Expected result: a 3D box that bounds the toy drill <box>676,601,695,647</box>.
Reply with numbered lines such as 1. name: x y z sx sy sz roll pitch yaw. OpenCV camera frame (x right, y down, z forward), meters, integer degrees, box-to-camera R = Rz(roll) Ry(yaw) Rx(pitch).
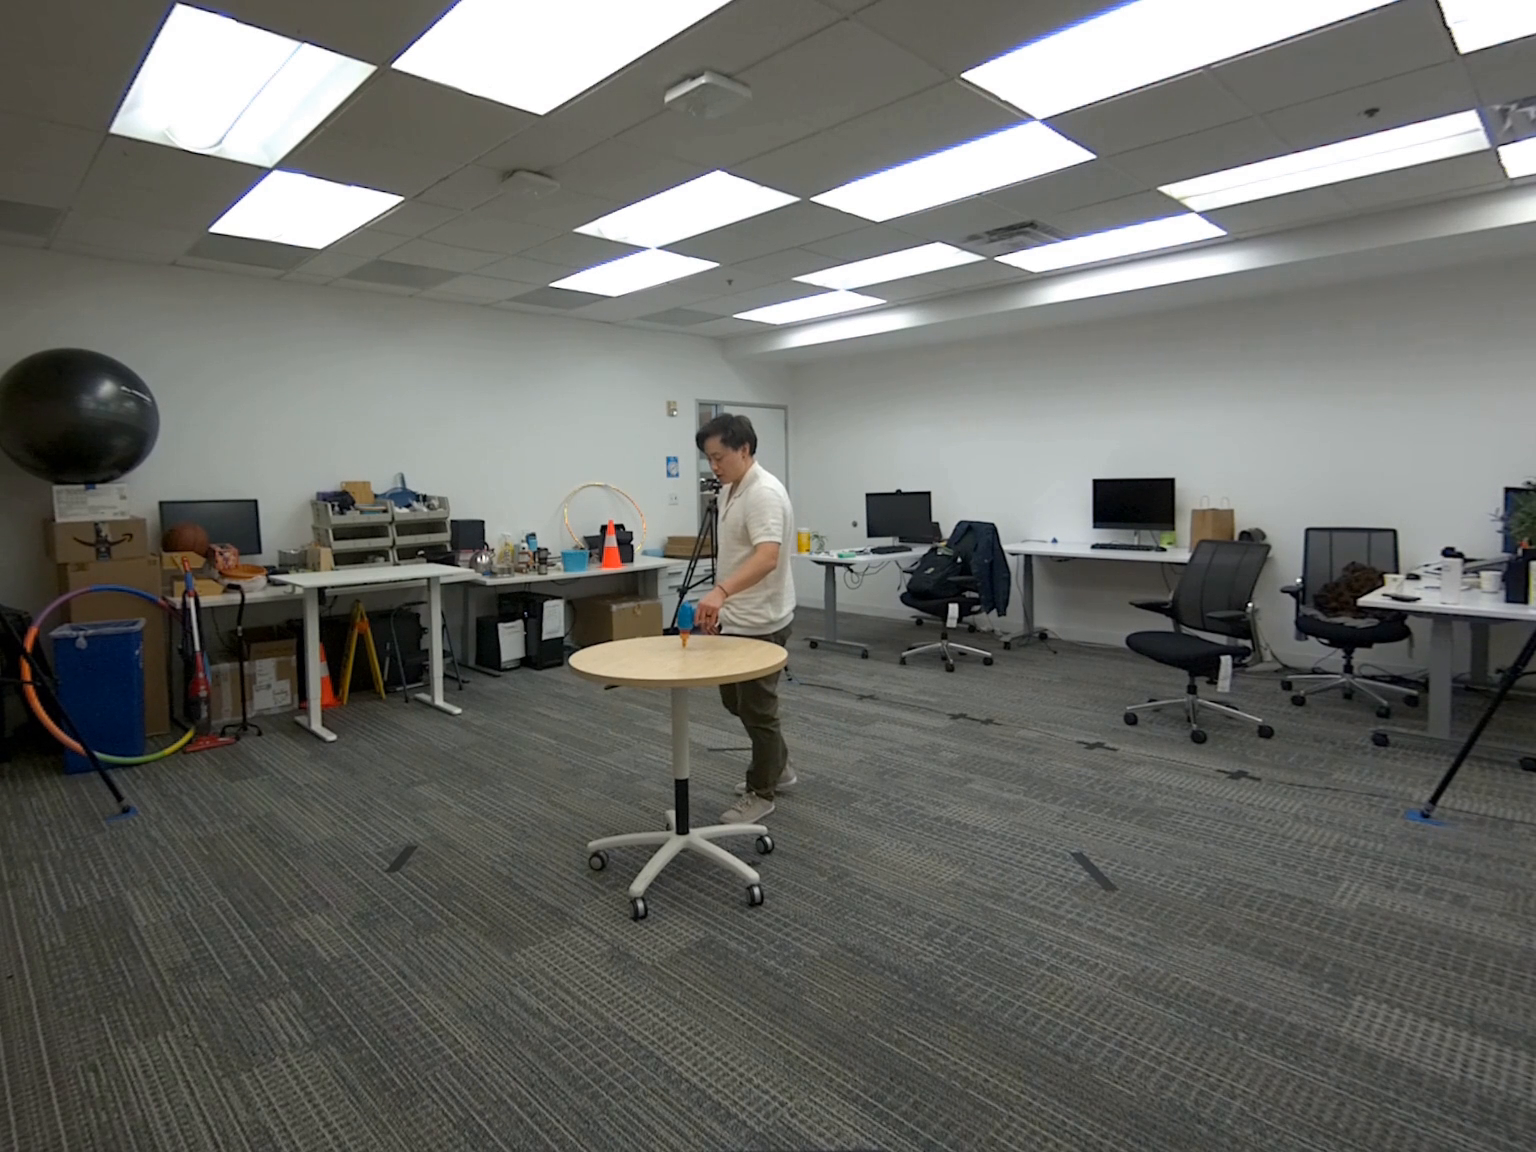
1. toy drill: -0.255 0.180 3.089 0.144 0.170 0.062 2 0 -13
